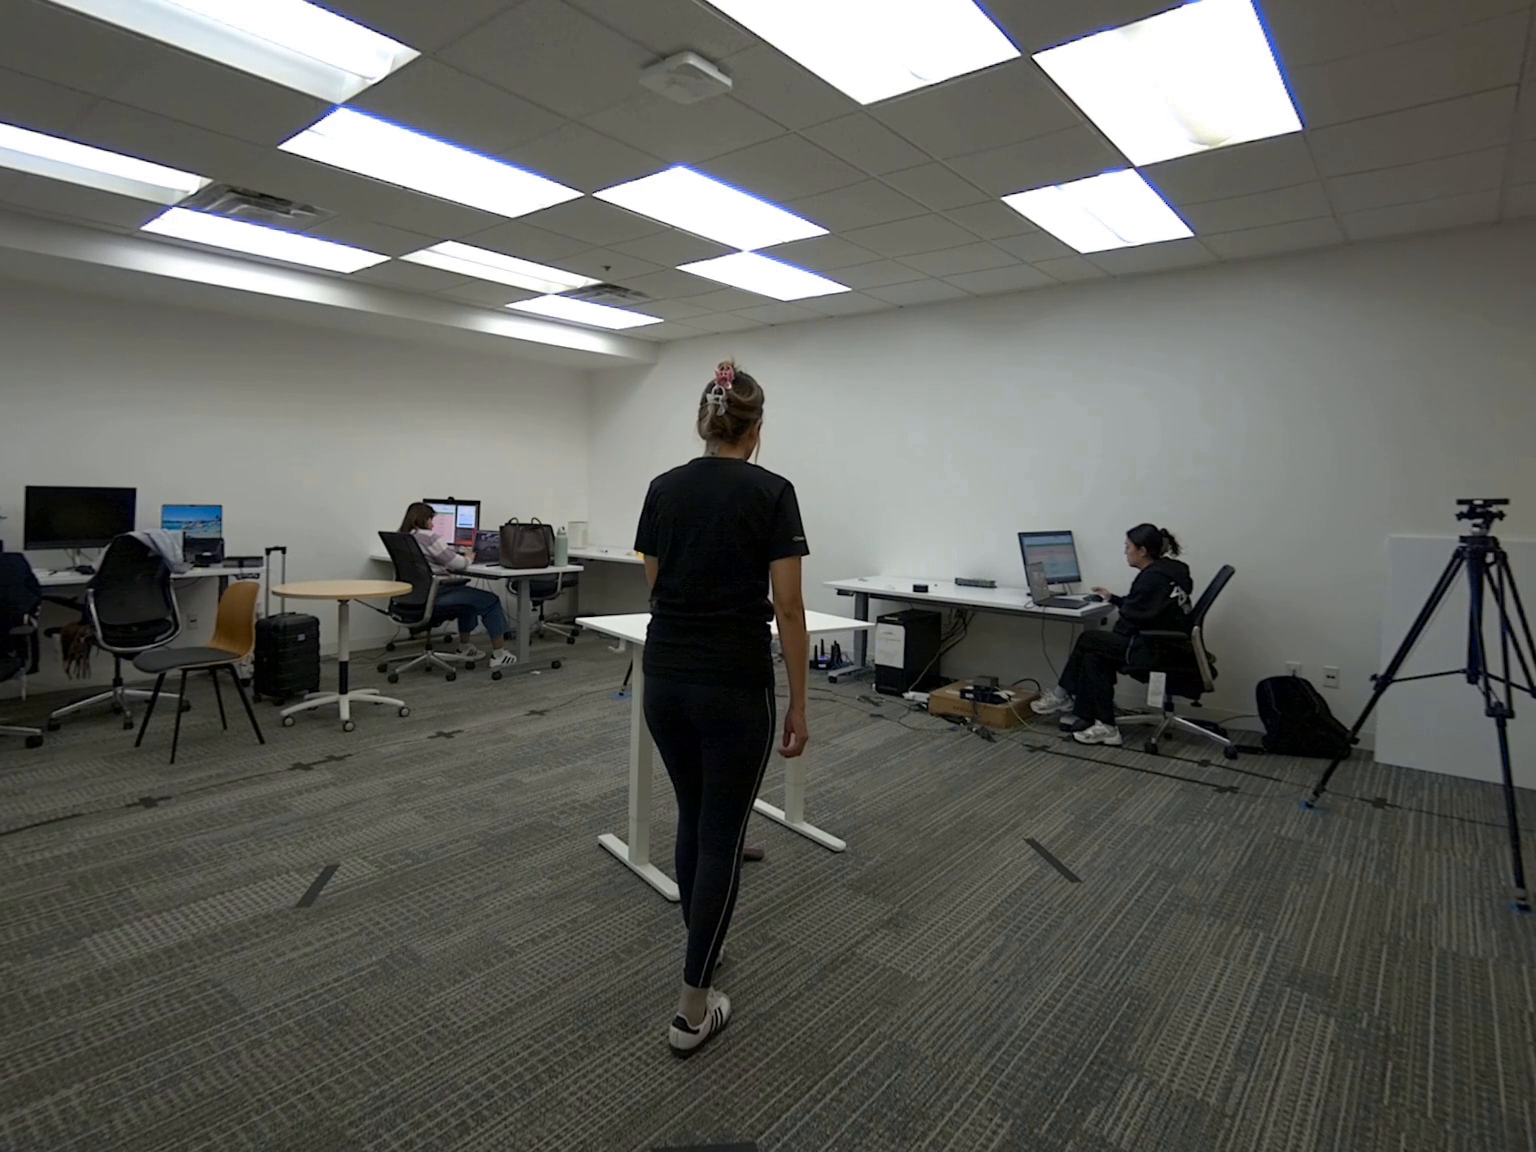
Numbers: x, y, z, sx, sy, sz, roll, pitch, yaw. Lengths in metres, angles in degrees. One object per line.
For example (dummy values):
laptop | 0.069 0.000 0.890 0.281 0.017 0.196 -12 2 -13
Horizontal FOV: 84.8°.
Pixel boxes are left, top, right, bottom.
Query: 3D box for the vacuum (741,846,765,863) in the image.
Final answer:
vacuum | -0.193 0.704 2.839 0.254 0.148 1.015 -1 -42 5
